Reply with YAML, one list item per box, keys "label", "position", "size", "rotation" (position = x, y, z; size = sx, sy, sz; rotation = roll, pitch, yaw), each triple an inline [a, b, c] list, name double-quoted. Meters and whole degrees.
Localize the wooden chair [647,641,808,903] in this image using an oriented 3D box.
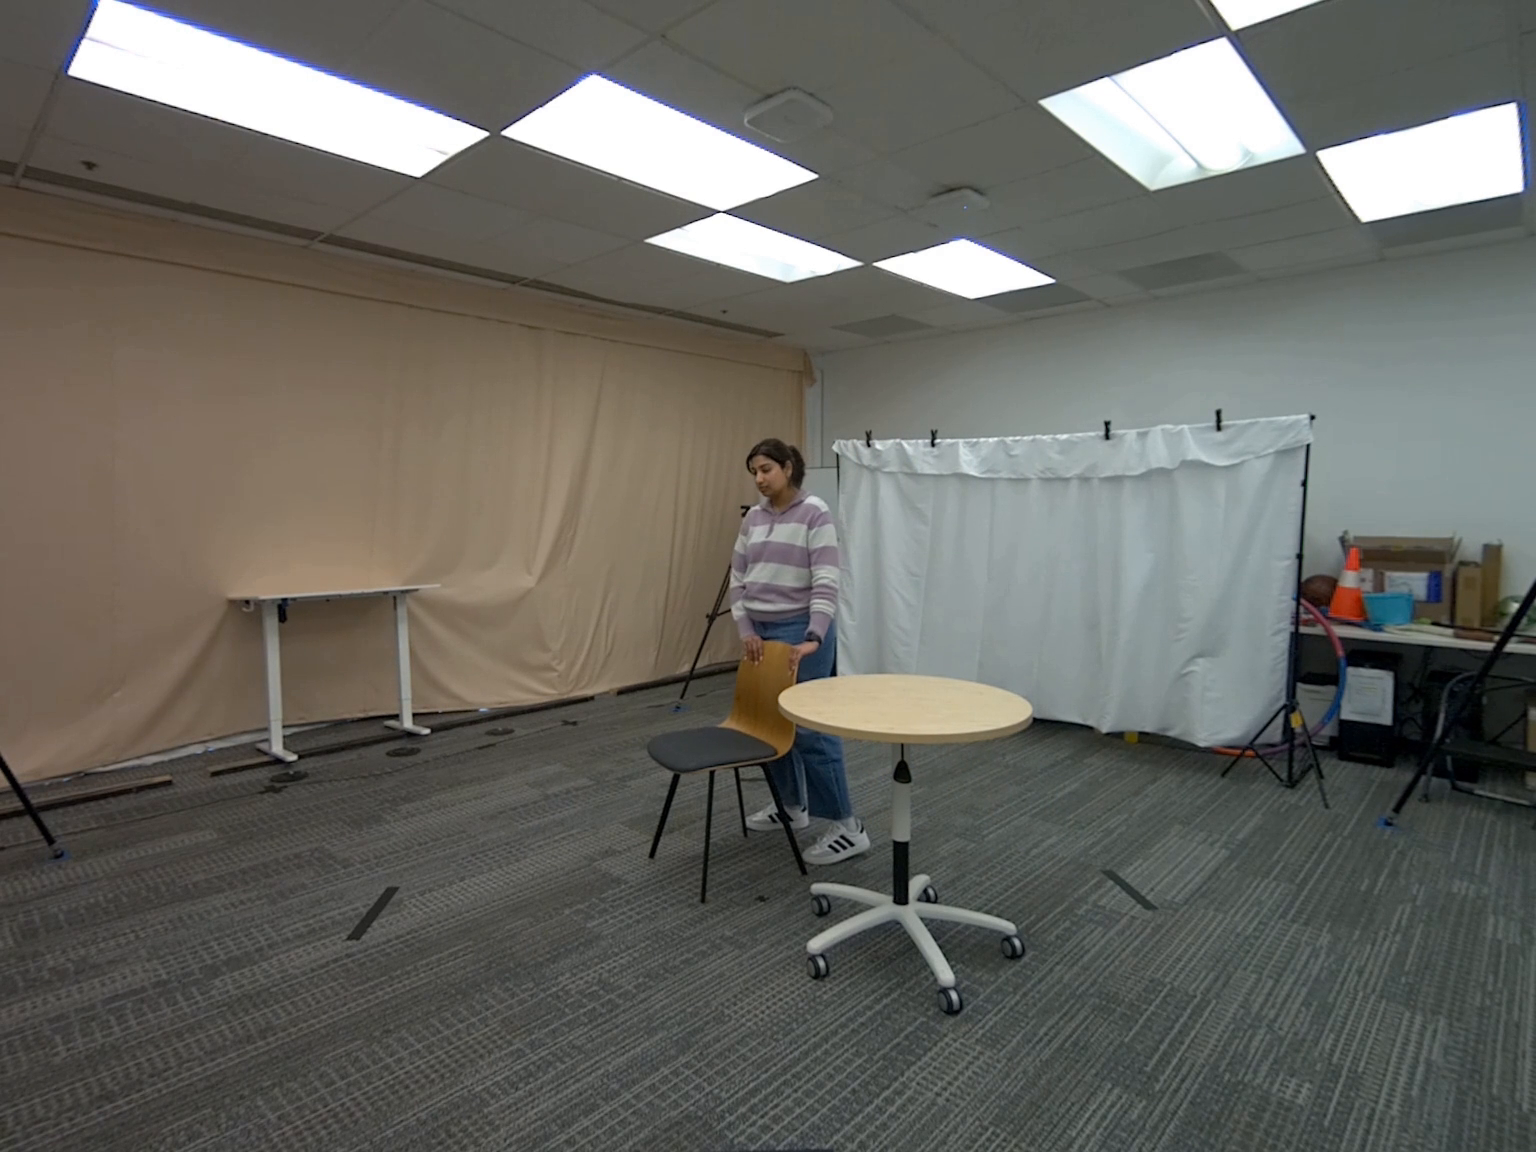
- label: "wooden chair"
  position: [-0.171, 0.699, 3.217]
  size: [0.508, 0.877, 0.492]
  rotation: [3, 1, -31]
